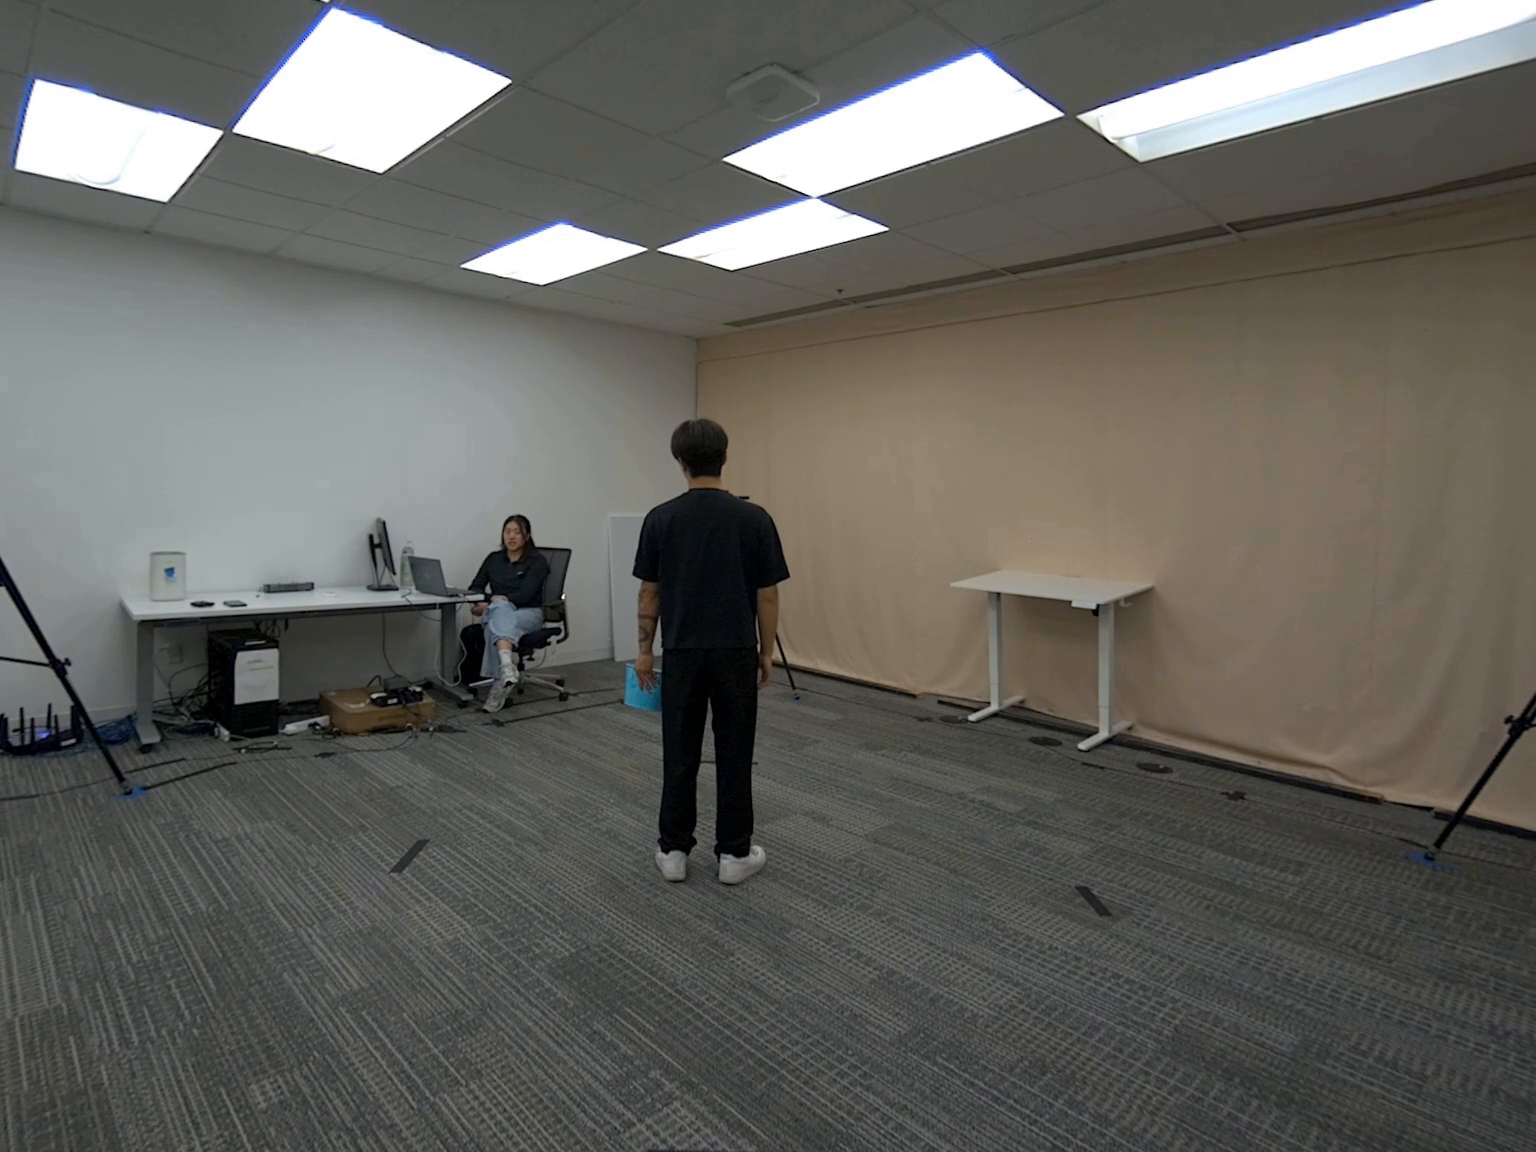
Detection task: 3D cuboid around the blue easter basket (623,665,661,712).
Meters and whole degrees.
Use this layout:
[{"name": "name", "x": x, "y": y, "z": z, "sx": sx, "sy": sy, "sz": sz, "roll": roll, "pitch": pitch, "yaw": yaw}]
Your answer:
[{"name": "blue easter basket", "x": -0.469, "y": 0.445, "z": 3.354, "sx": 0.244, "sy": 0.156, "sz": 0.242, "roll": 10, "pitch": -6, "yaw": 0}]
